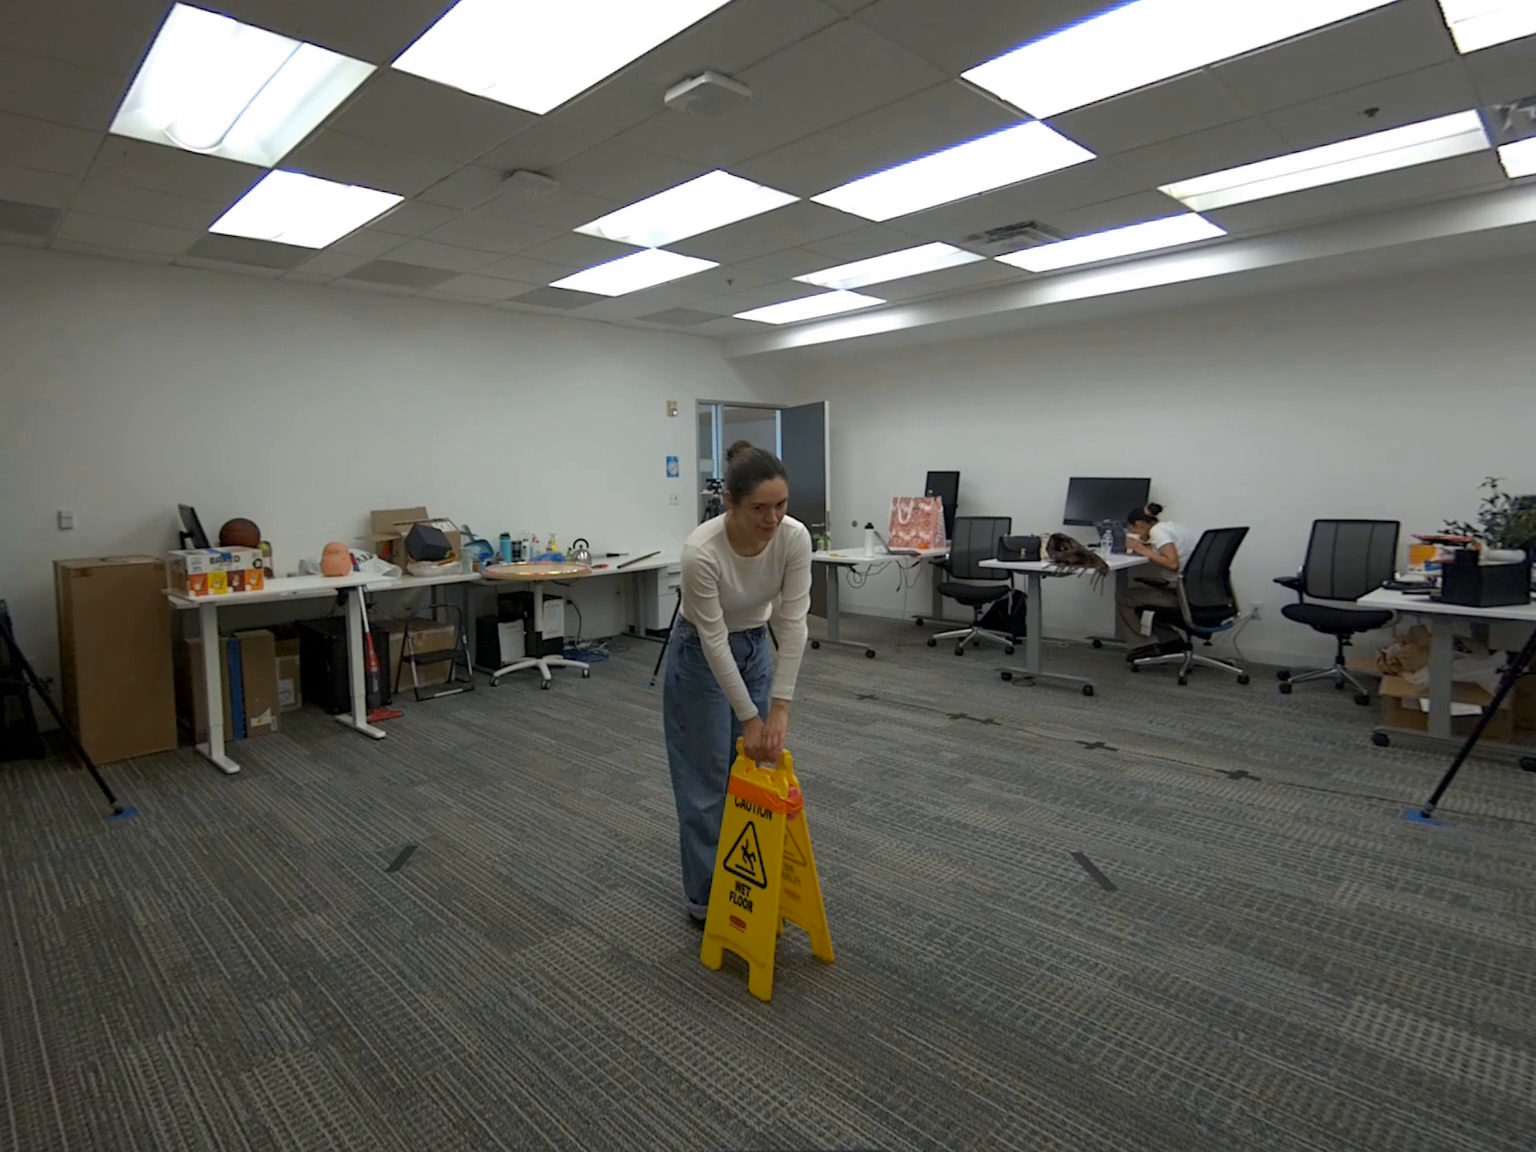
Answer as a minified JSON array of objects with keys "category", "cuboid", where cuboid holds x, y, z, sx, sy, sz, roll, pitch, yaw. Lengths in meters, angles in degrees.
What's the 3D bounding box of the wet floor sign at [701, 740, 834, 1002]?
[{"category":"wet floor sign","cuboid":[0.001,0.798,2.453,0.282,0.643,0.291,-4,6,-44]}]
